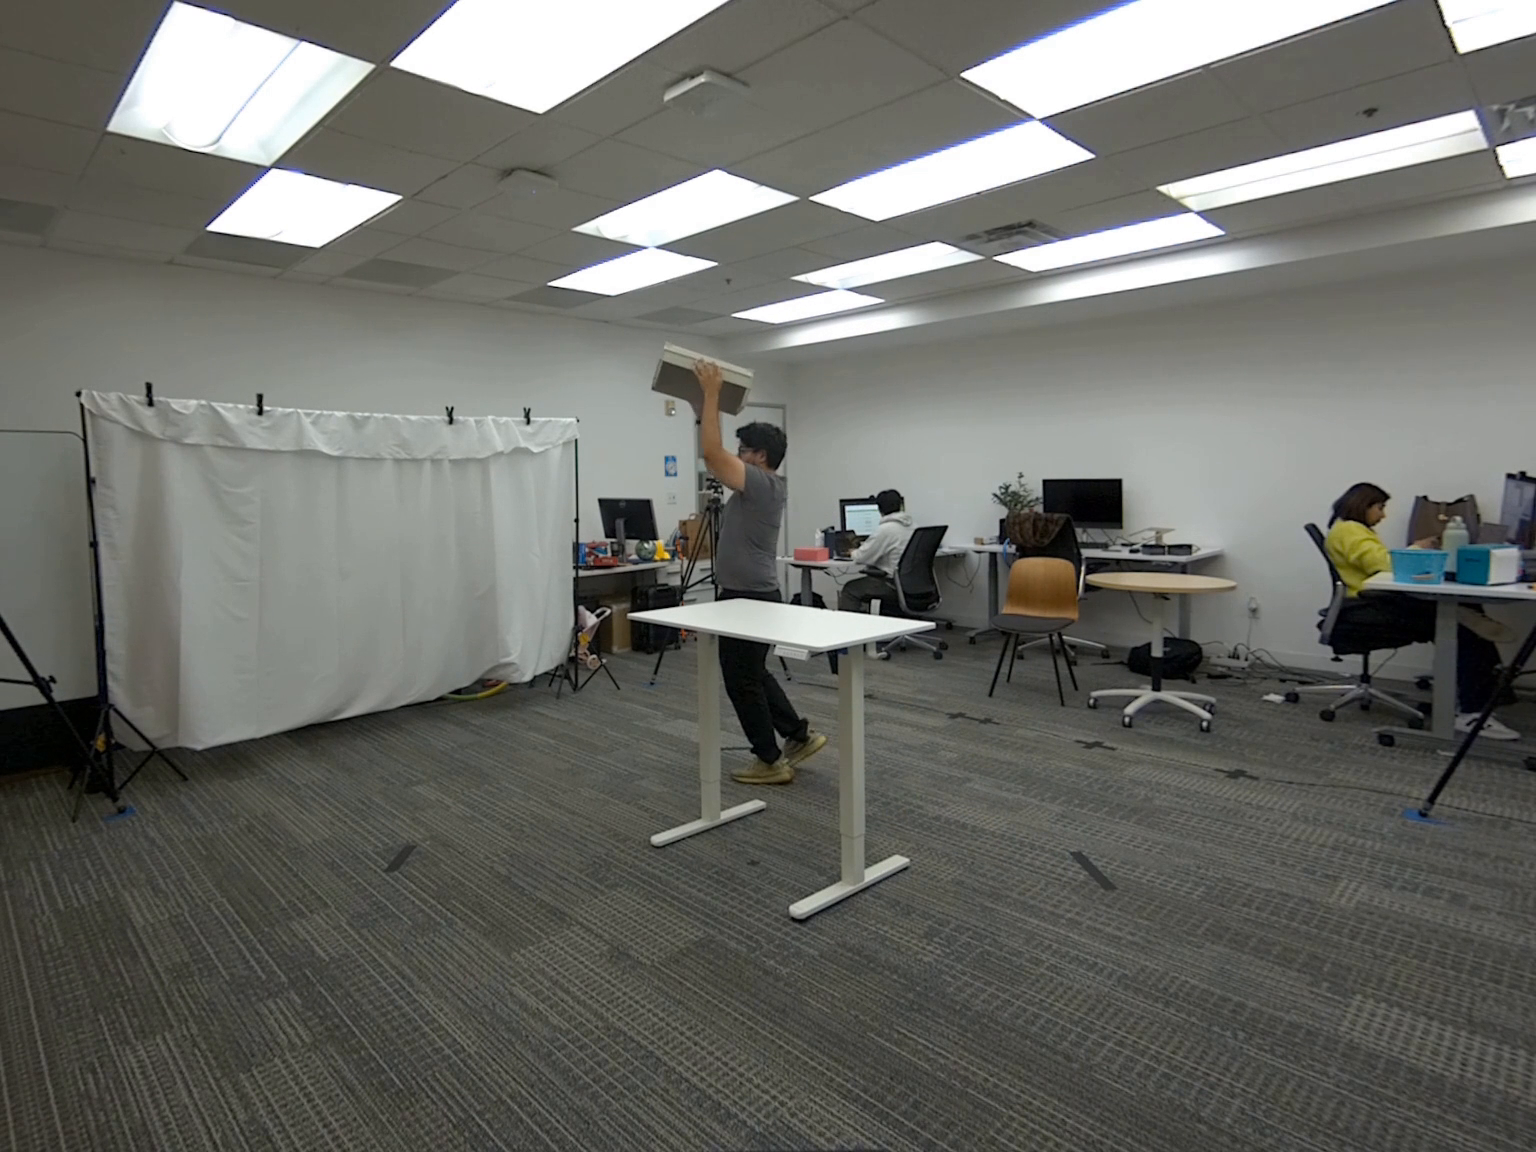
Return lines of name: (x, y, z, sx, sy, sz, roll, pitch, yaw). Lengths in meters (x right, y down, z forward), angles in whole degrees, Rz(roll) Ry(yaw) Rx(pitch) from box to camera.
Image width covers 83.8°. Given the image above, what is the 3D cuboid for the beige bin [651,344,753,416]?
beige bin: (-0.300, -0.891, 3.876, 0.419, 0.189, 0.381, 16, 3, -8)
